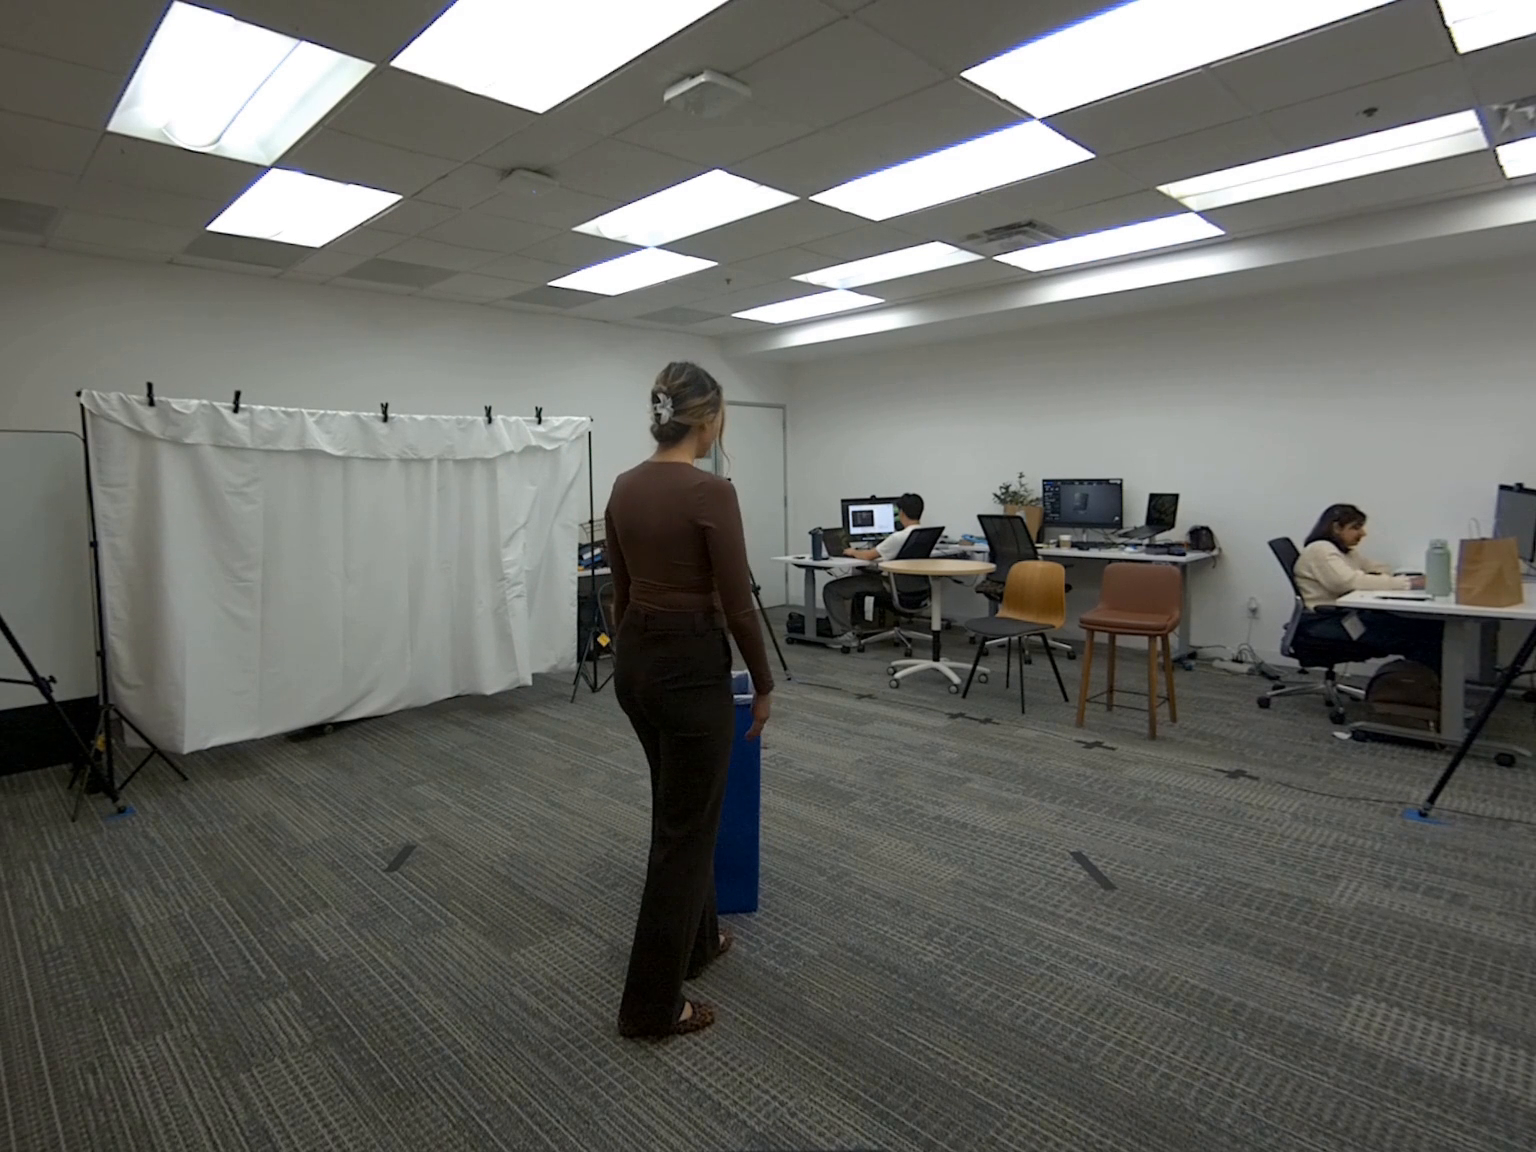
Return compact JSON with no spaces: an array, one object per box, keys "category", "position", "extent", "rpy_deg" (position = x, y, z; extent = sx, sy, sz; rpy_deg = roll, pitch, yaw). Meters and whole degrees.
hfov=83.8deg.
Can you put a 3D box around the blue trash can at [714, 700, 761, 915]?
[{"category":"blue trash can","position":[-0.192,0.716,2.872],"extent":[0.372,0.711,0.381],"rpy_deg":[-2,5,-6]}]
